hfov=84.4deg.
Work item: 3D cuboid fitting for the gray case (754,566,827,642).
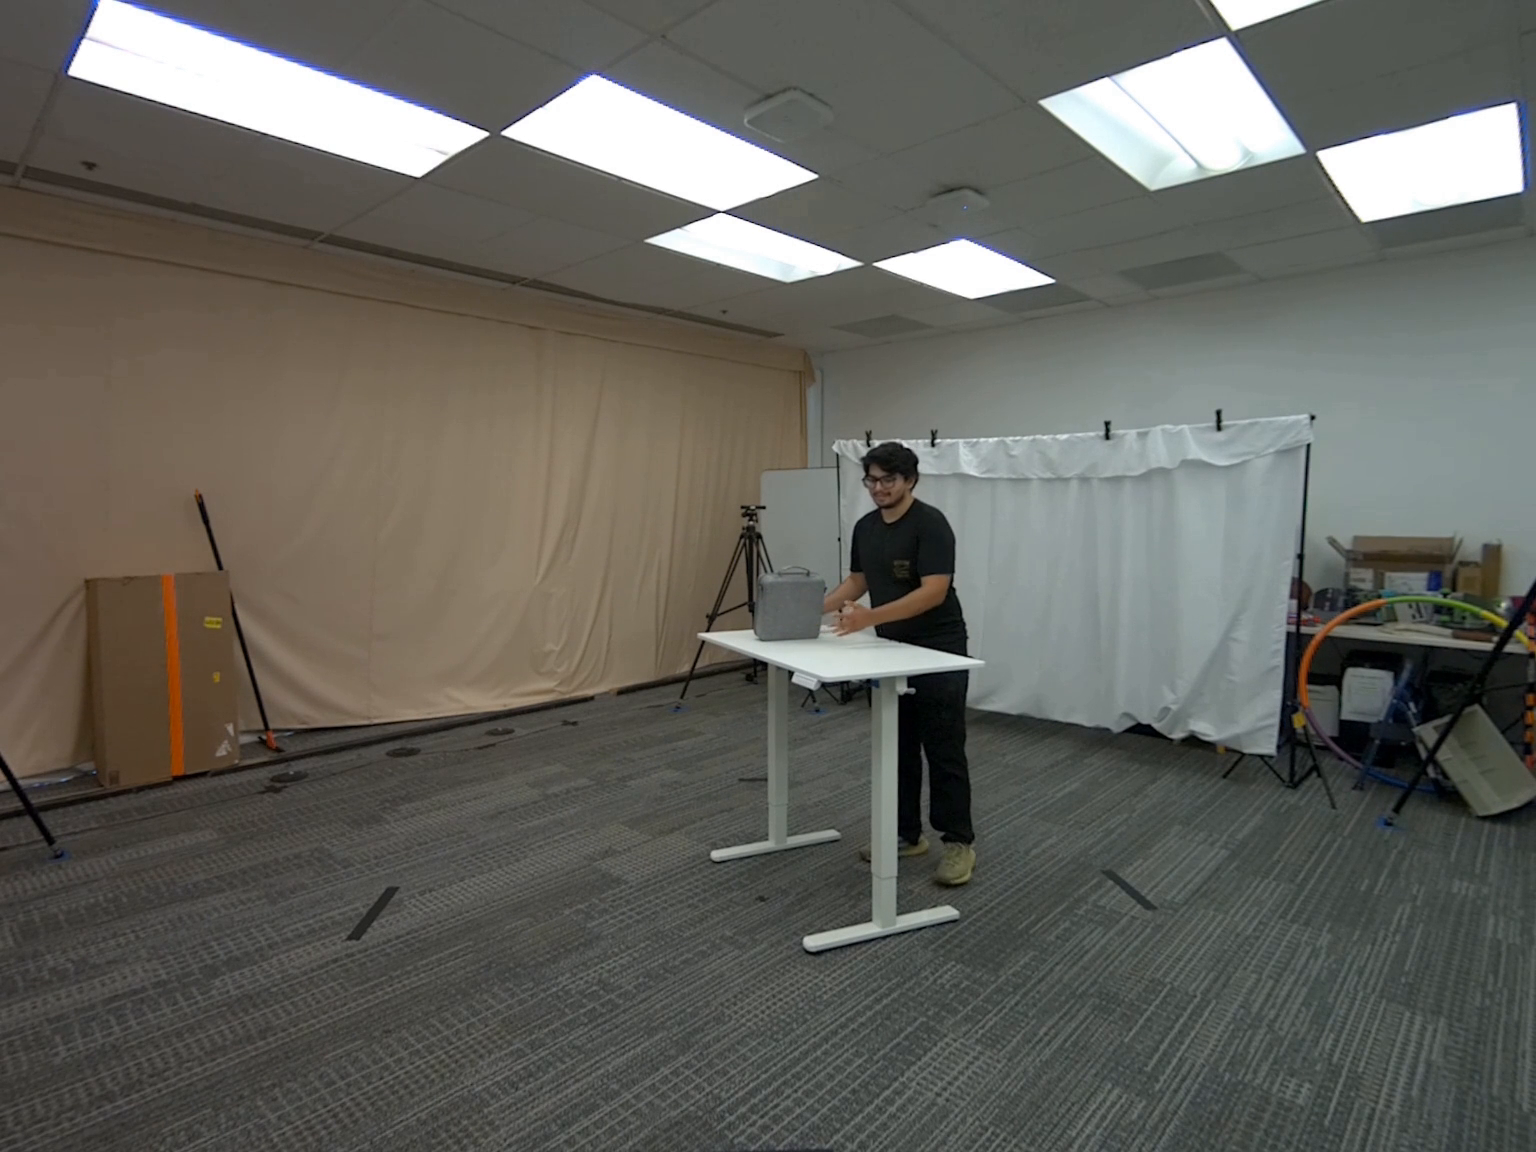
[{"bbox_3d":[0.084,0.112,3.215,0.254,0.259,0.106,1,9,-10],"label":"gray case"}]
